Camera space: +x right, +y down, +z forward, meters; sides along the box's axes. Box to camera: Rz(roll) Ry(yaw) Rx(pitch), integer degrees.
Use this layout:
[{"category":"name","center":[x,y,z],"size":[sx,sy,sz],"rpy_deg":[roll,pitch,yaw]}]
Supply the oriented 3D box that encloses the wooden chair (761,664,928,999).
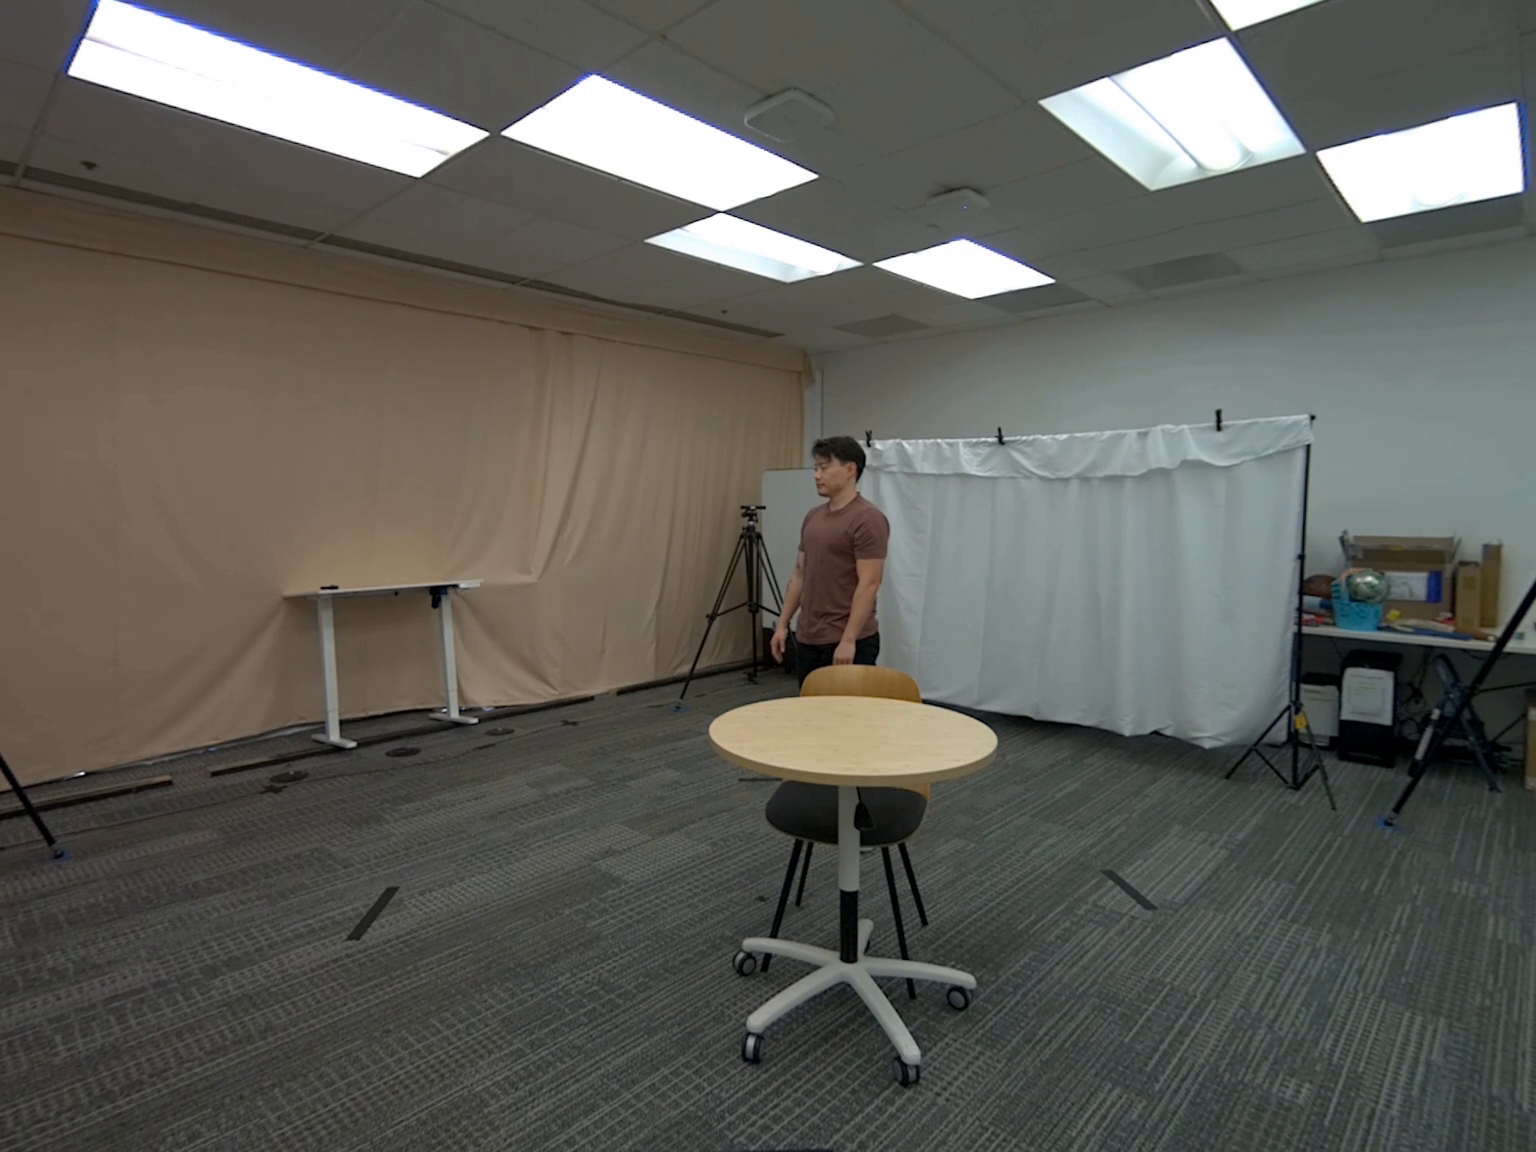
[{"category":"wooden chair","center":[0.255,0.739,2.624],"size":[0.488,0.877,0.513],"rpy_deg":[2,0,18]}]
